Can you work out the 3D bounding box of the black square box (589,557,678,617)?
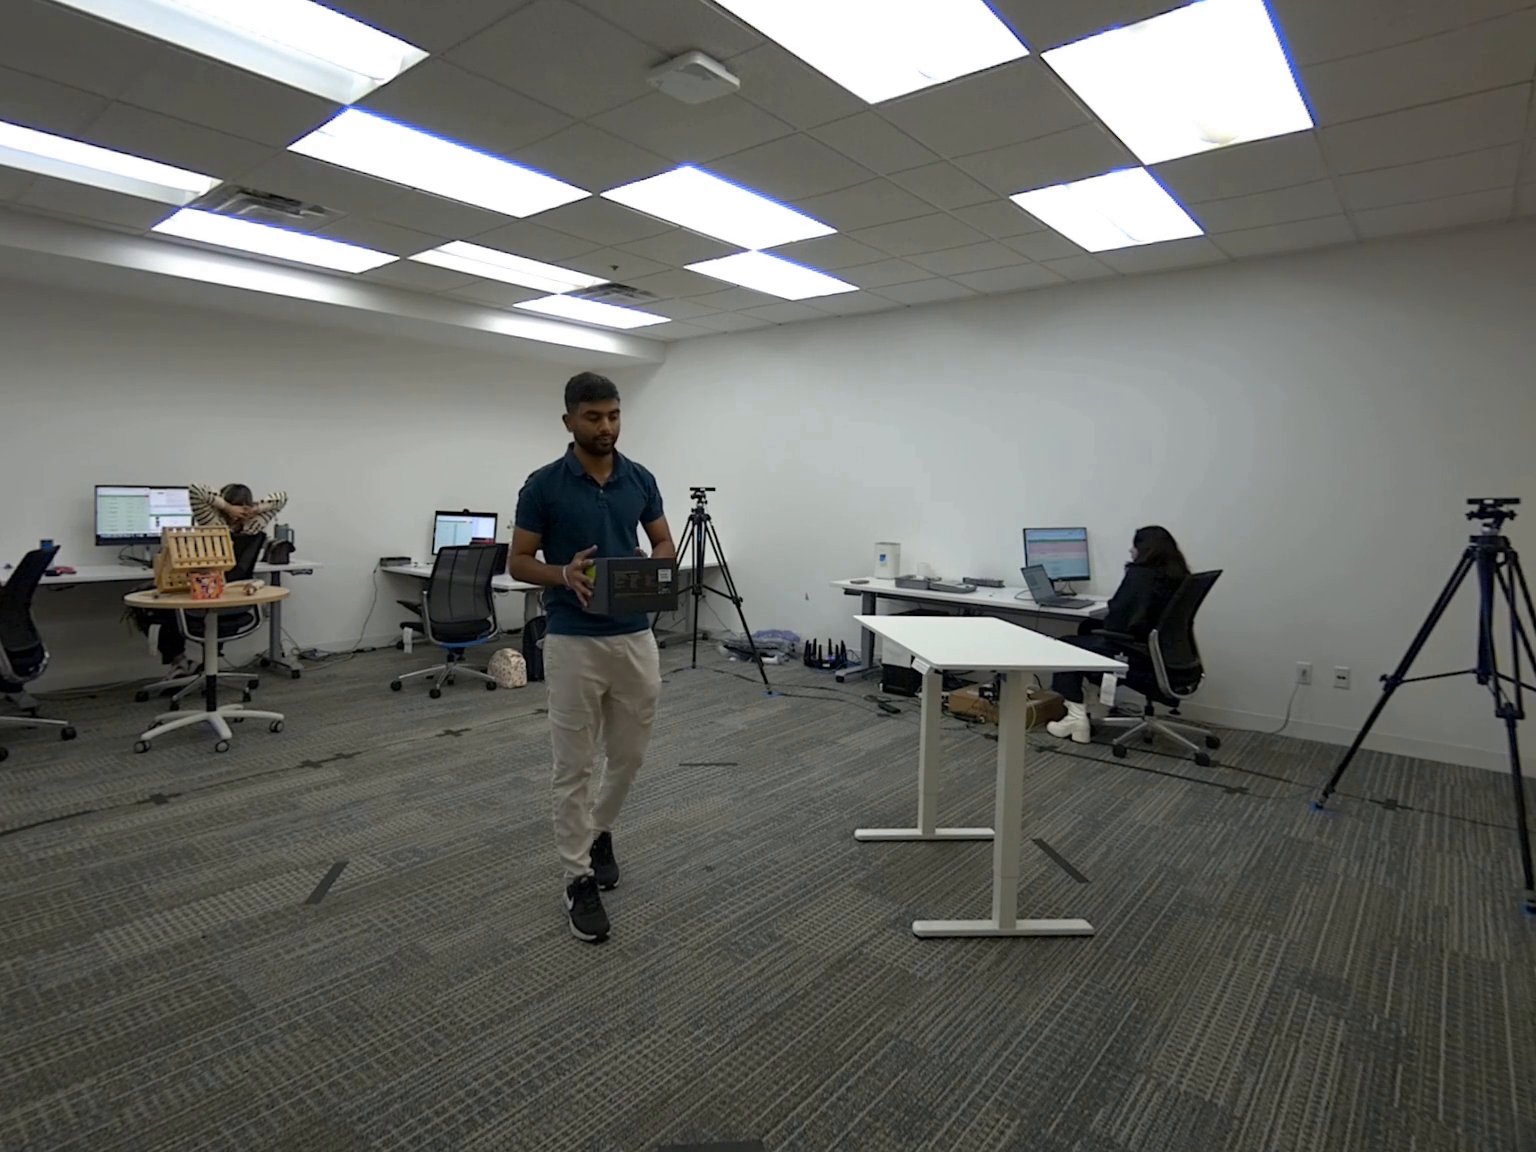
[{"bbox_3d":[-0.420,0.024,2.484,0.211,0.156,0.234,-2,1,-29],"label":"black square box"}]
